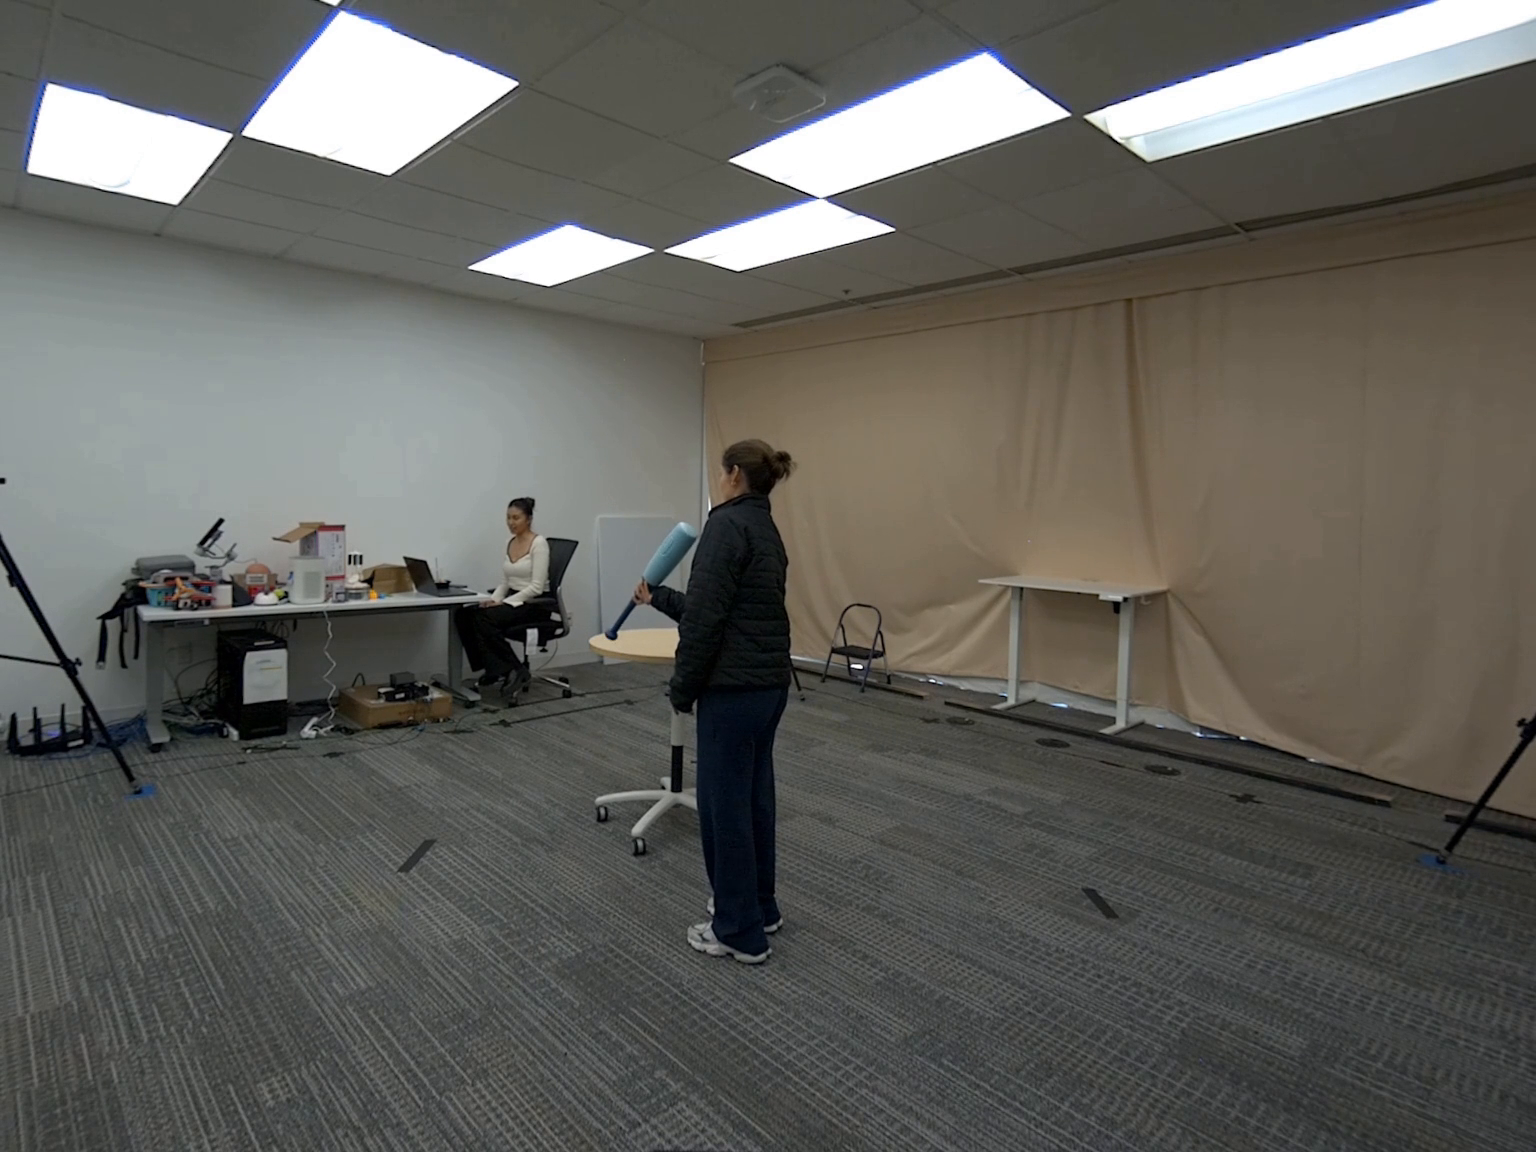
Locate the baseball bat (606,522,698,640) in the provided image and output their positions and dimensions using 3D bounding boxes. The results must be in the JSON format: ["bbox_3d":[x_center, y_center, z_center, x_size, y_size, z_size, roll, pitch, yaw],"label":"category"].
[{"bbox_3d":[-0.436,0.039,3.002,0.087,0.541,0.091,31,23,-16],"label":"baseball bat"}]
